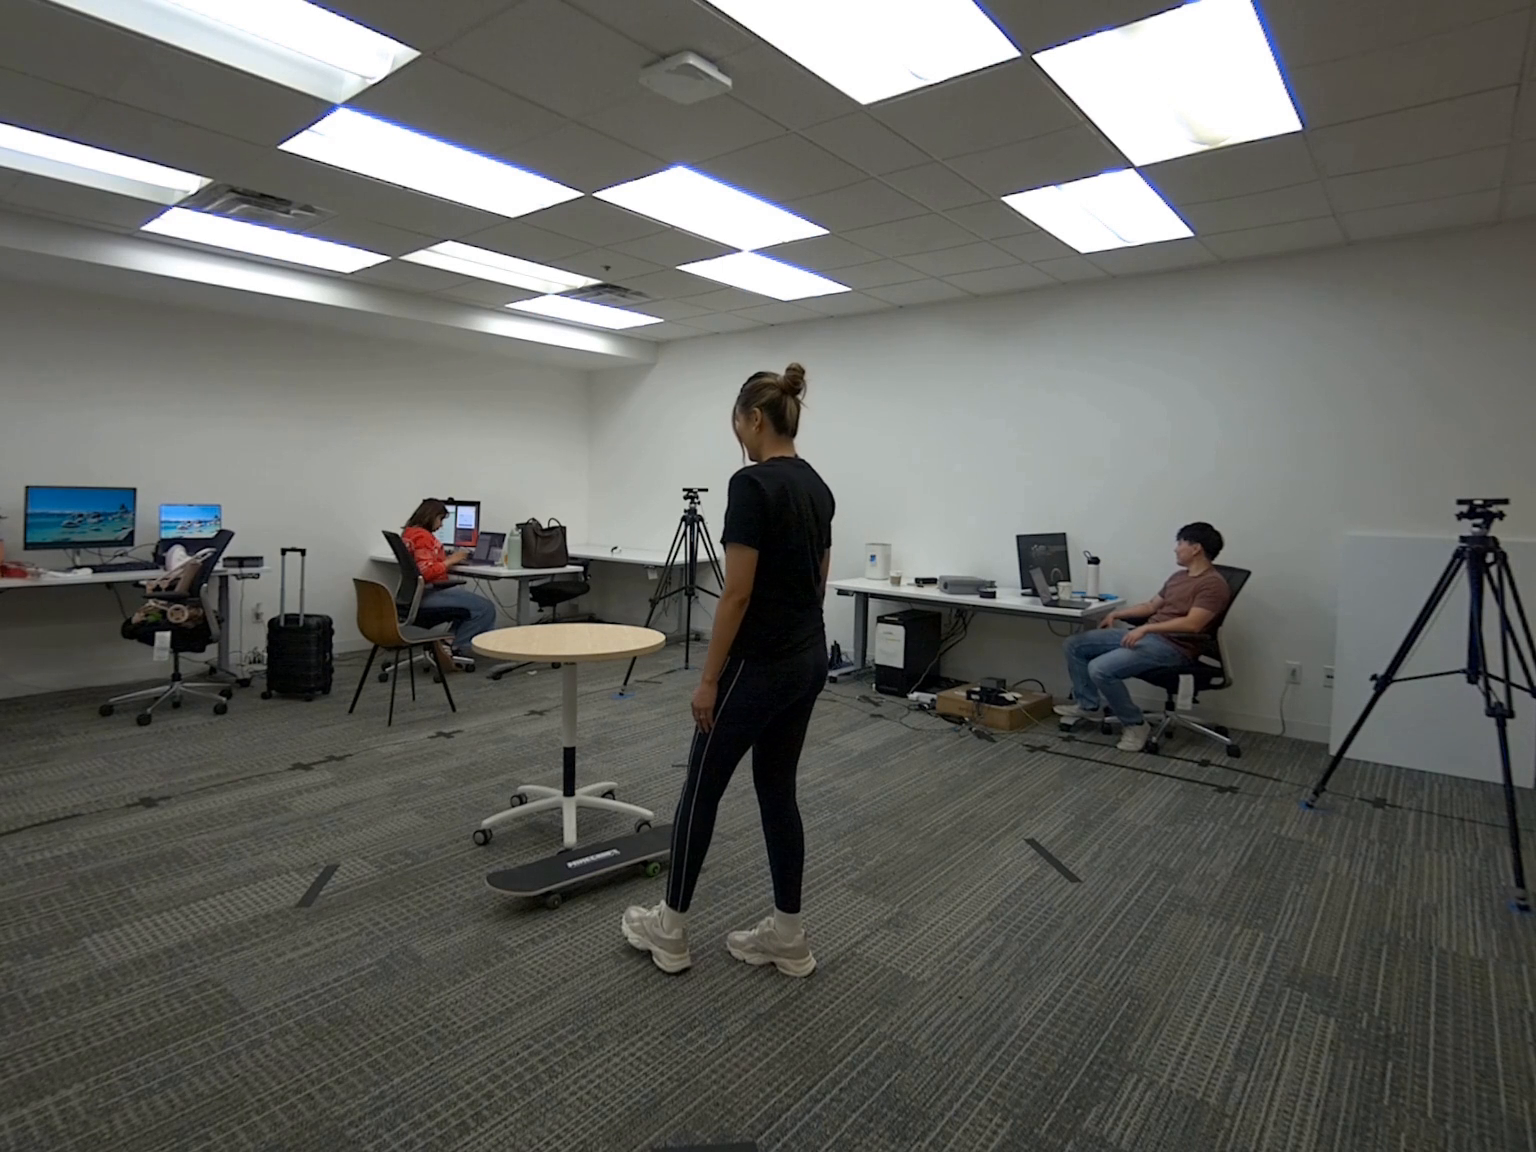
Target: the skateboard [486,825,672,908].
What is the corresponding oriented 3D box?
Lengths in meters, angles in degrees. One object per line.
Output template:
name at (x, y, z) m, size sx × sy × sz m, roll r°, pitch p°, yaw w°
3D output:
skateboard at (-0.619, 1.020, 2.986) m, size 0.762 × 0.110 × 0.200 m, roll -4°, pitch 7°, yaw -40°
